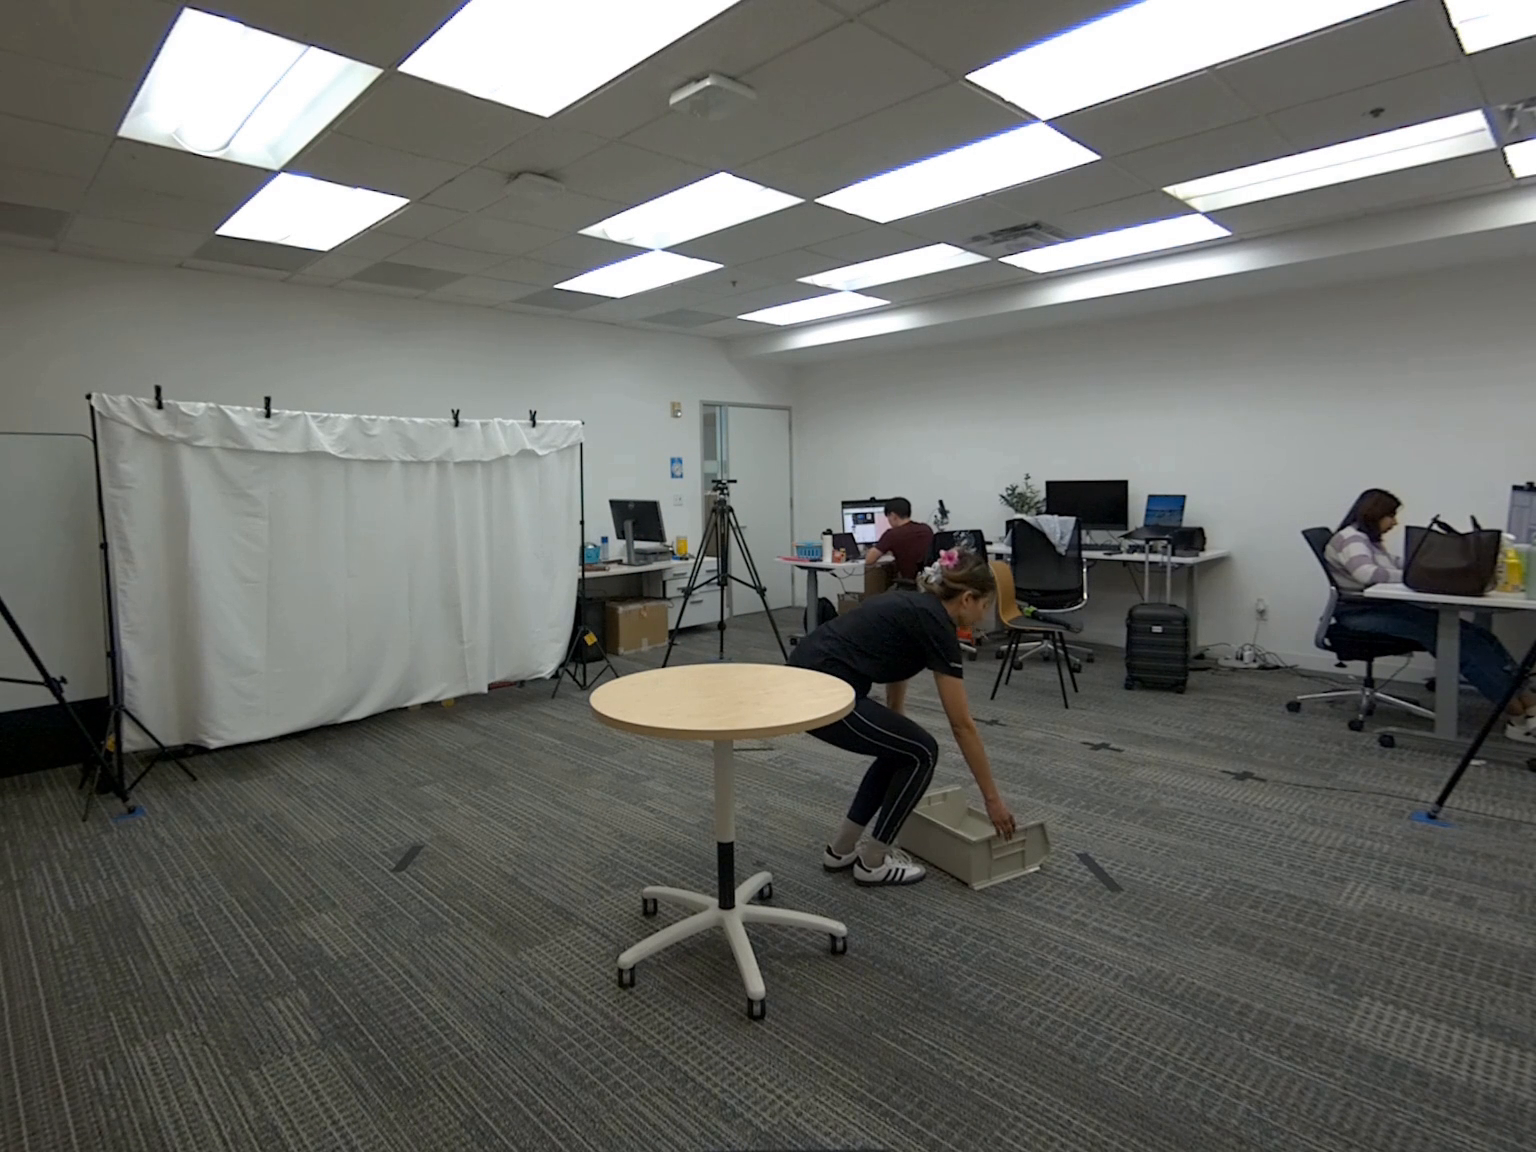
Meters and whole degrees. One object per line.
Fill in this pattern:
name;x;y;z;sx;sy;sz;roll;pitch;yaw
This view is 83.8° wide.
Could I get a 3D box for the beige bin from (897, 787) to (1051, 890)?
beige bin;0.740;0.939;3.136;0.369;0.188;0.434;-5;7;-30
